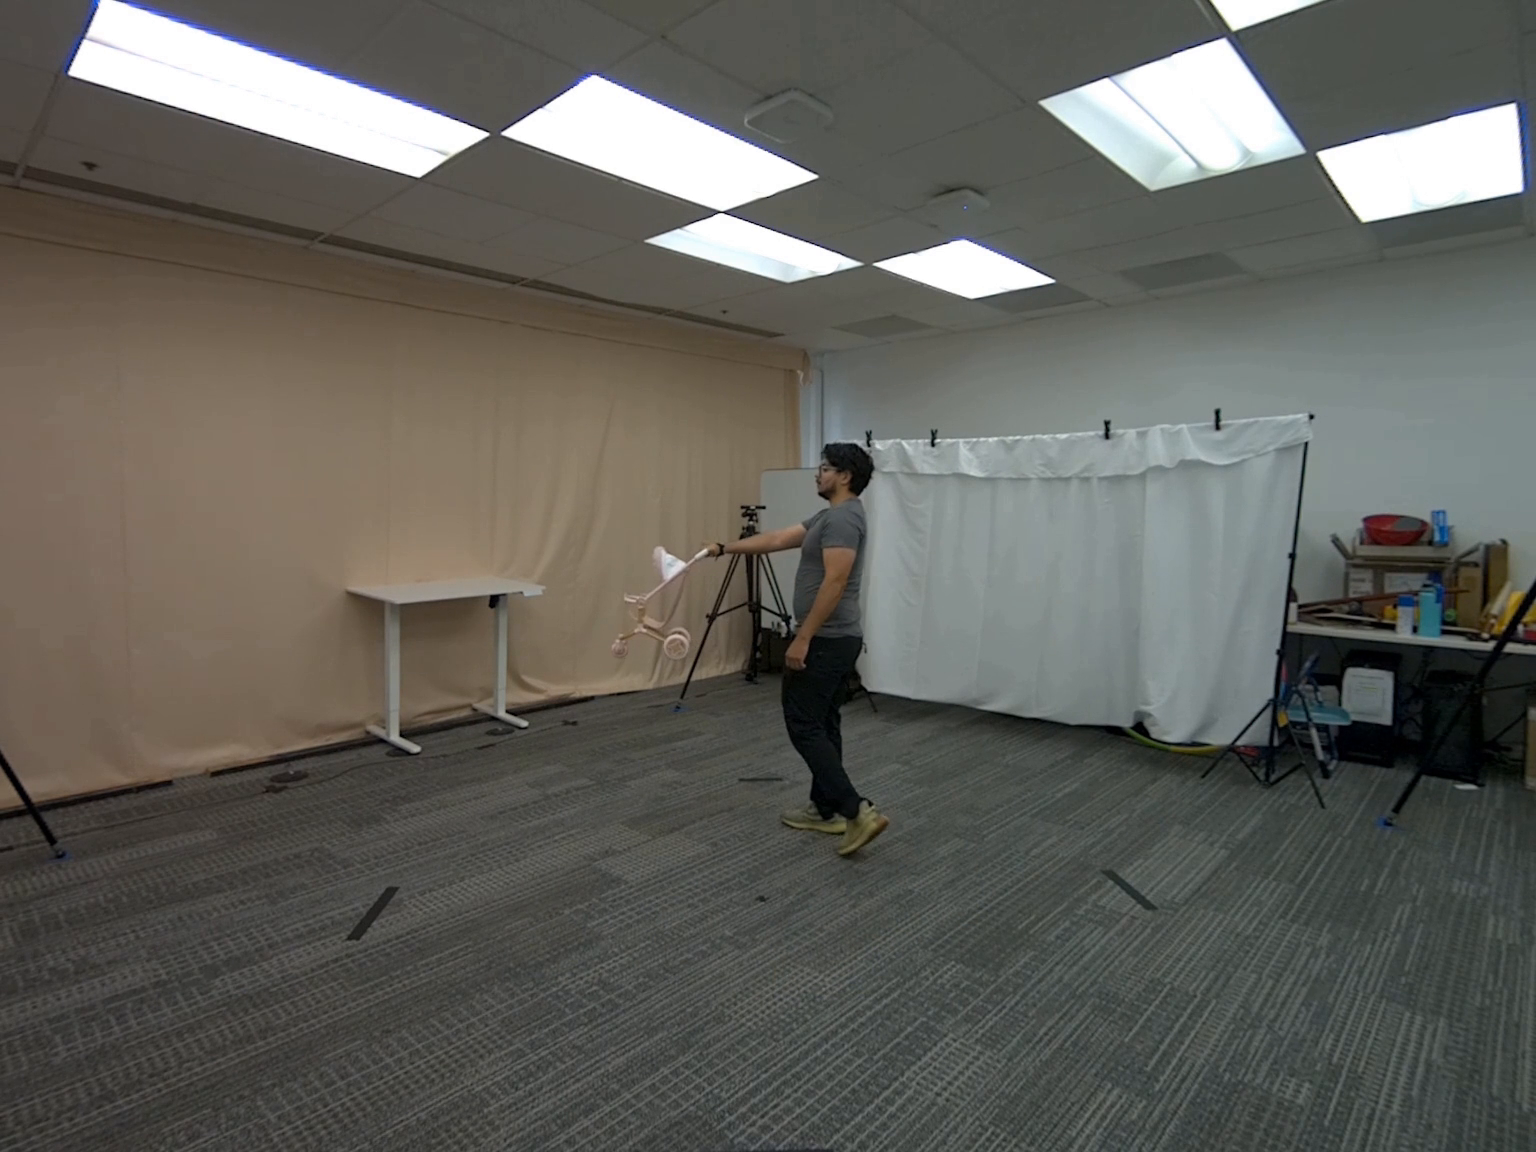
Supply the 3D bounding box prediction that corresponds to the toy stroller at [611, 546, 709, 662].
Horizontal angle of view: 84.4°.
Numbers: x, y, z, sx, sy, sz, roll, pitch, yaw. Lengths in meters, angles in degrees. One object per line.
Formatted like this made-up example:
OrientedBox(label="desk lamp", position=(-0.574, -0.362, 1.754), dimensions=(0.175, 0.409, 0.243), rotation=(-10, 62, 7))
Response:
OrientedBox(label="toy stroller", position=(-0.467, 0.122, 3.641), dimensions=(0.342, 0.534, 0.281), rotation=(12, 1, 1))
